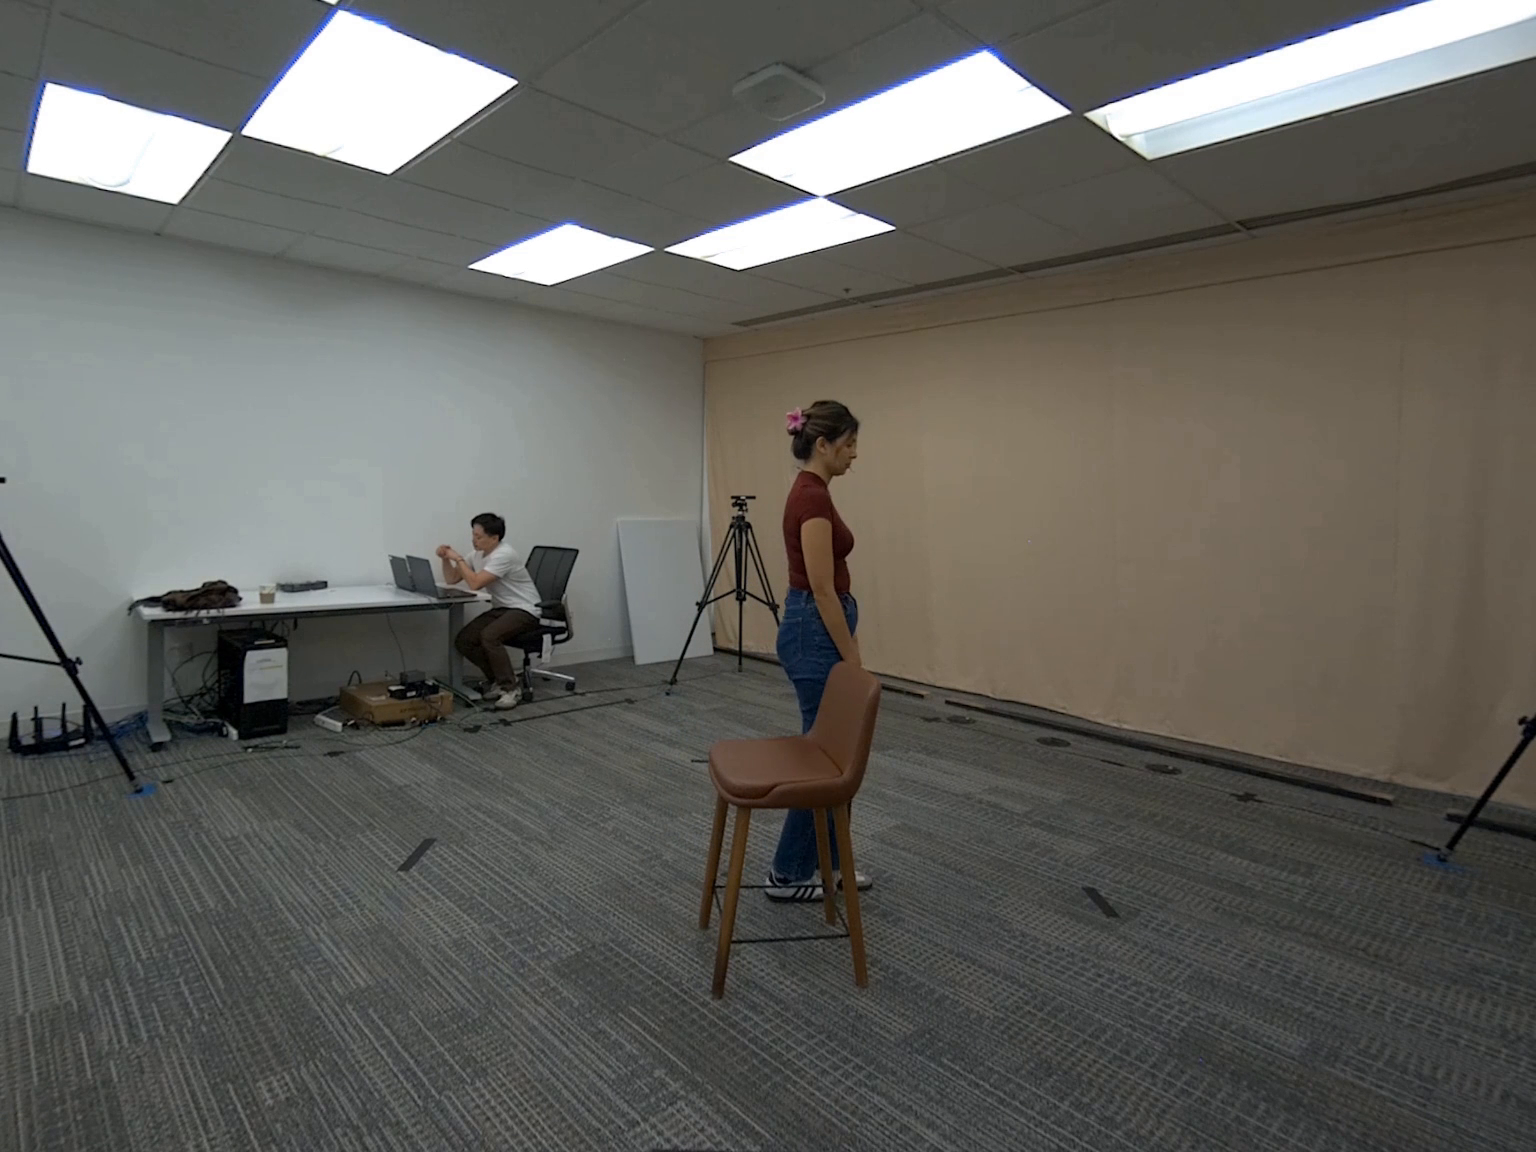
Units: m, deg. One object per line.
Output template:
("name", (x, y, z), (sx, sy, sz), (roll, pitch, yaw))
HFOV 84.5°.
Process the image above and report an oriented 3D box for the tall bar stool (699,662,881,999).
("tall bar stool", (0.047, 0.729, 2.529), (0.464, 0.887, 0.461), (3, 4, -10))
